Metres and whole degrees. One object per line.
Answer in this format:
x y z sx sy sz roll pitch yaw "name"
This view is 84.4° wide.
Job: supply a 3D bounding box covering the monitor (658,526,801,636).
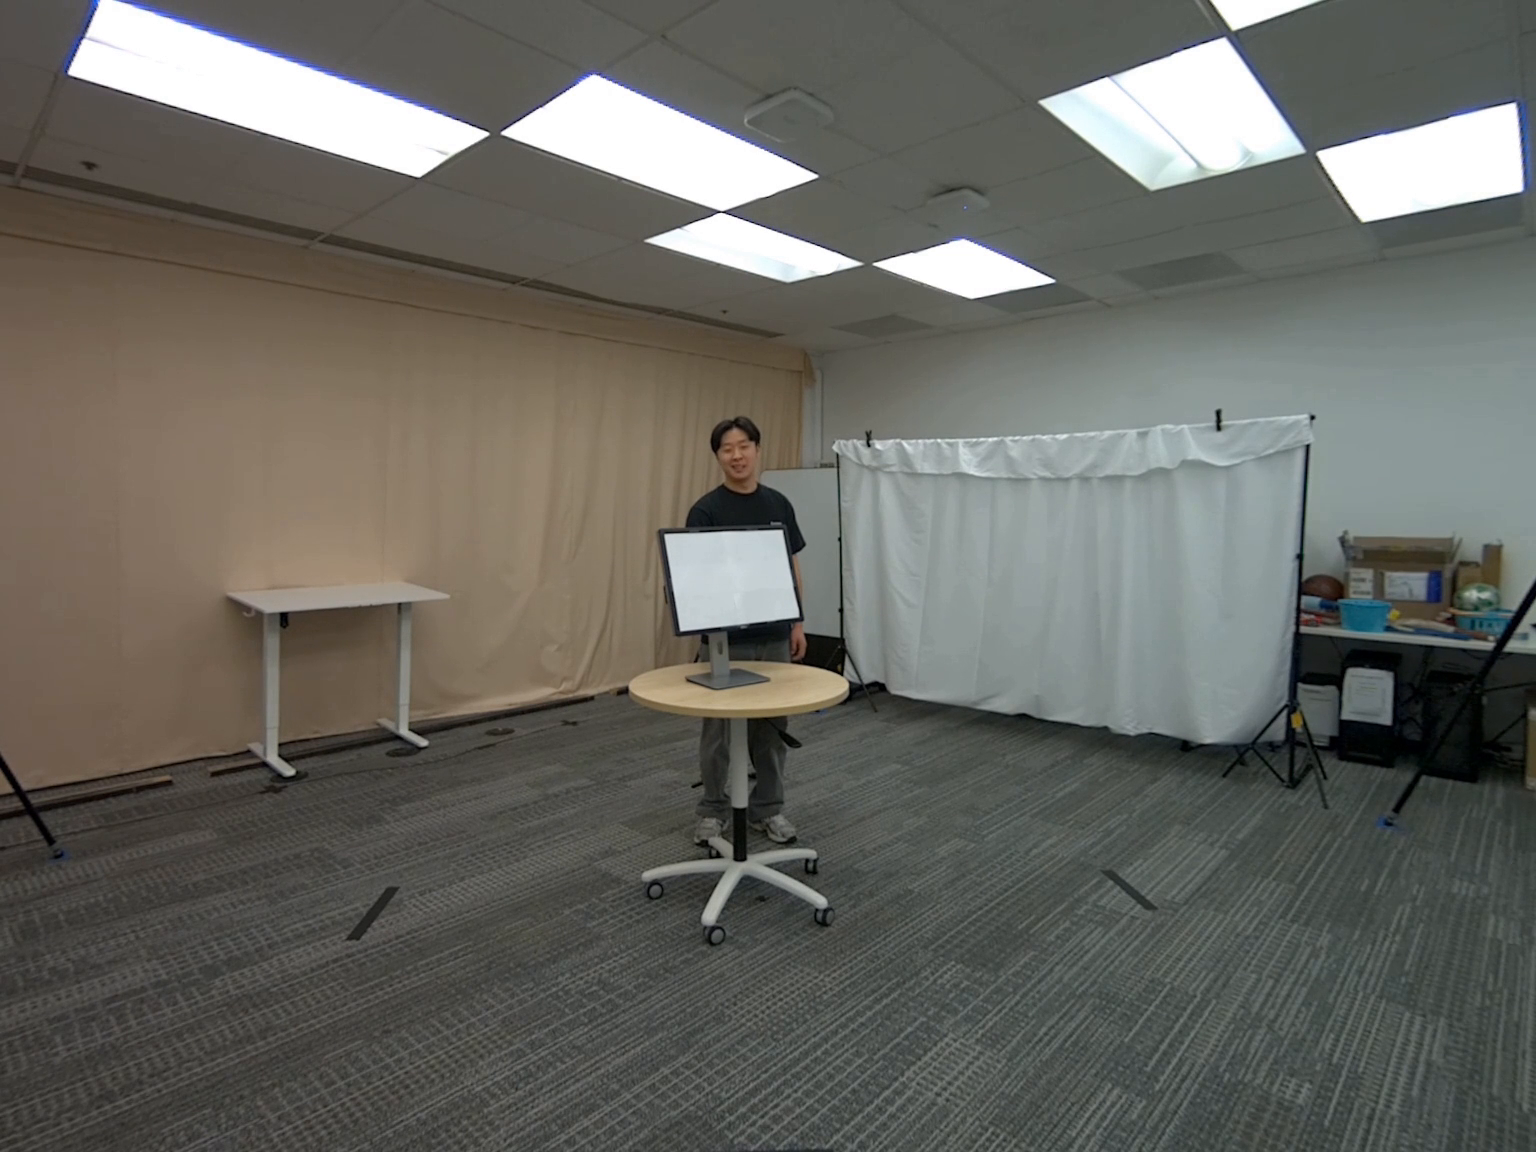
-0.137 0.110 2.958 0.546 0.564 0.229 -4 6 -35 "monitor"
